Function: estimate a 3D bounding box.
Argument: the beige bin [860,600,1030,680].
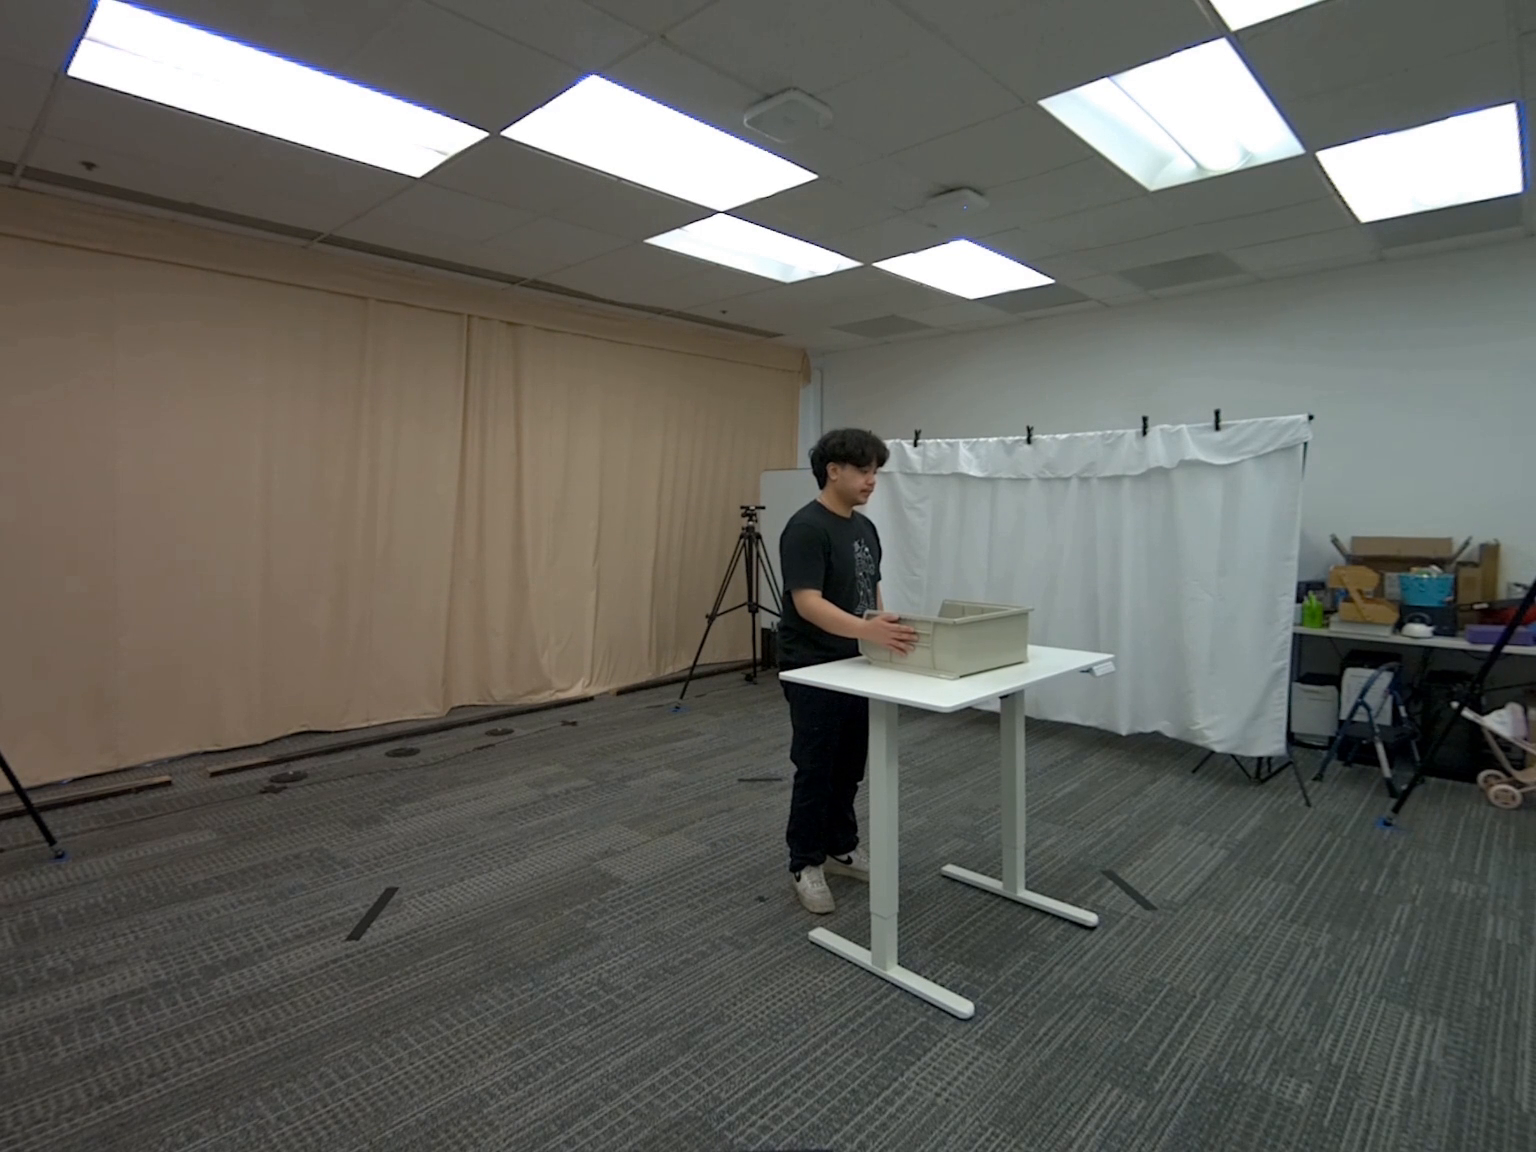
[{"bbox_3d":[0.581,0.198,2.711,0.409,0.188,0.390,-4,6,-40],"label":"beige bin"}]
